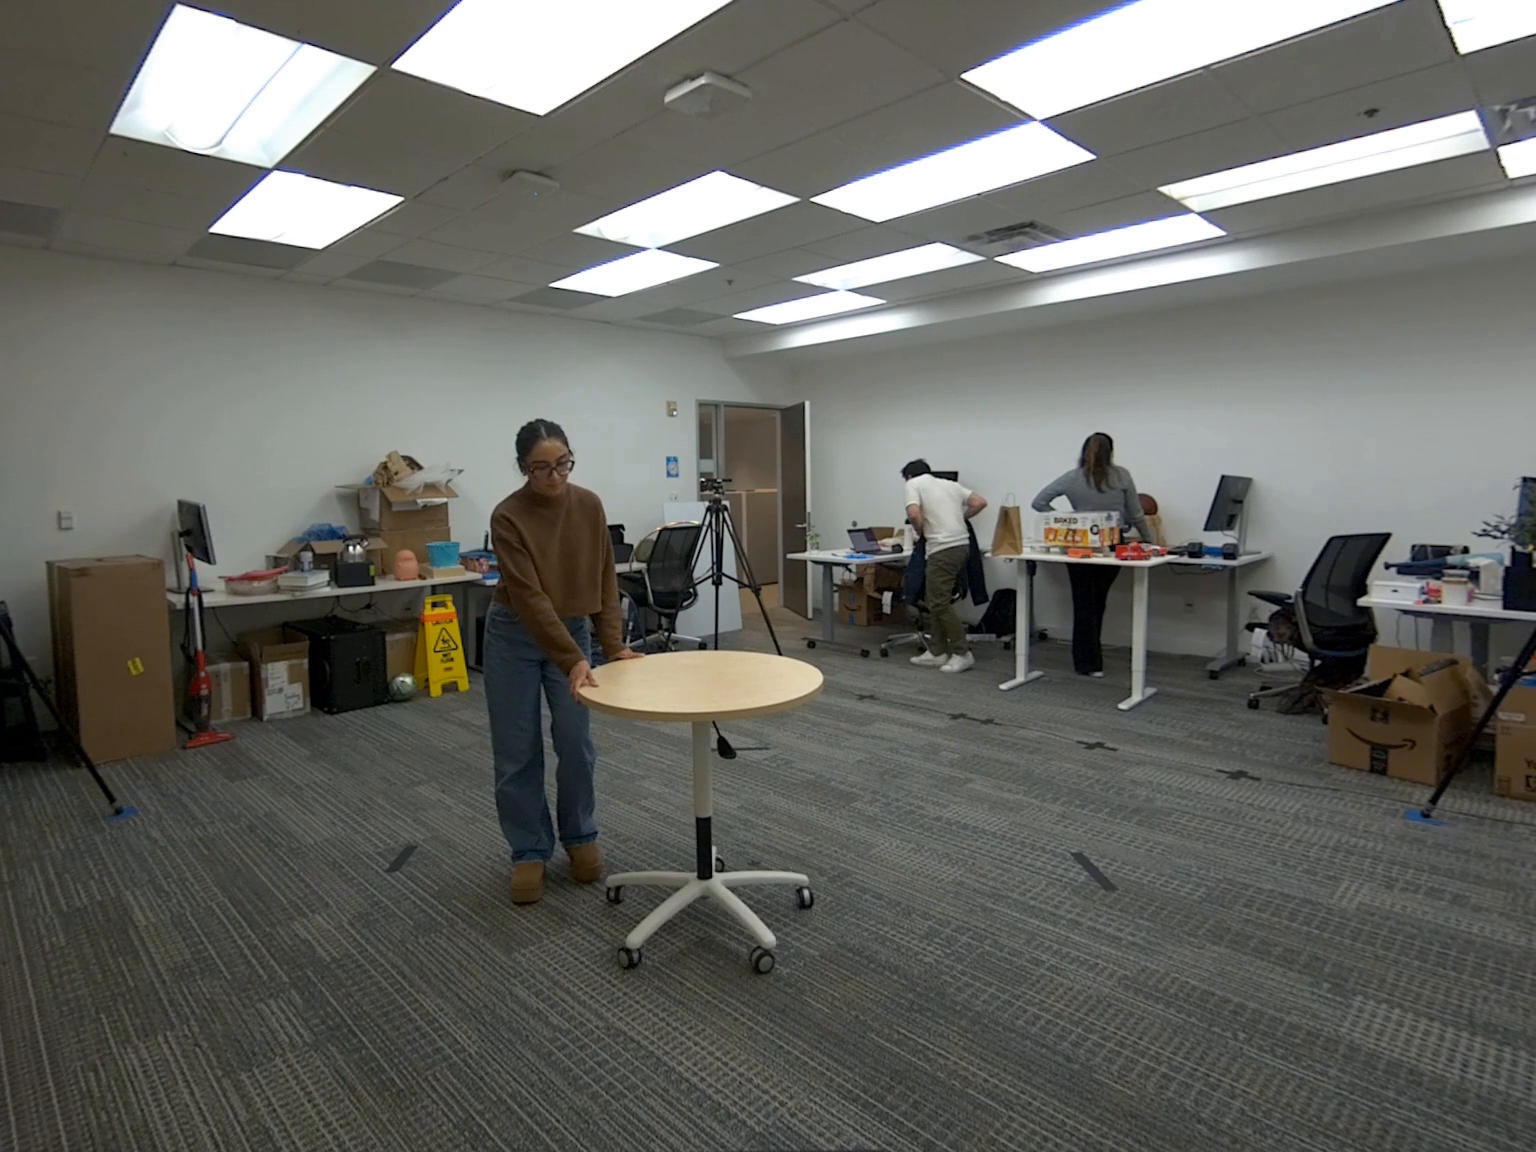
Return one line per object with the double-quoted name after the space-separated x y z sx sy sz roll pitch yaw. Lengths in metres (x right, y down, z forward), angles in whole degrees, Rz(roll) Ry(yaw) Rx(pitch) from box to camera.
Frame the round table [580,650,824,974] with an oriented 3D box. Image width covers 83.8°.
-0.194 0.705 2.671 0.784 0.783 0.789 -2 5 -2 "round table"
